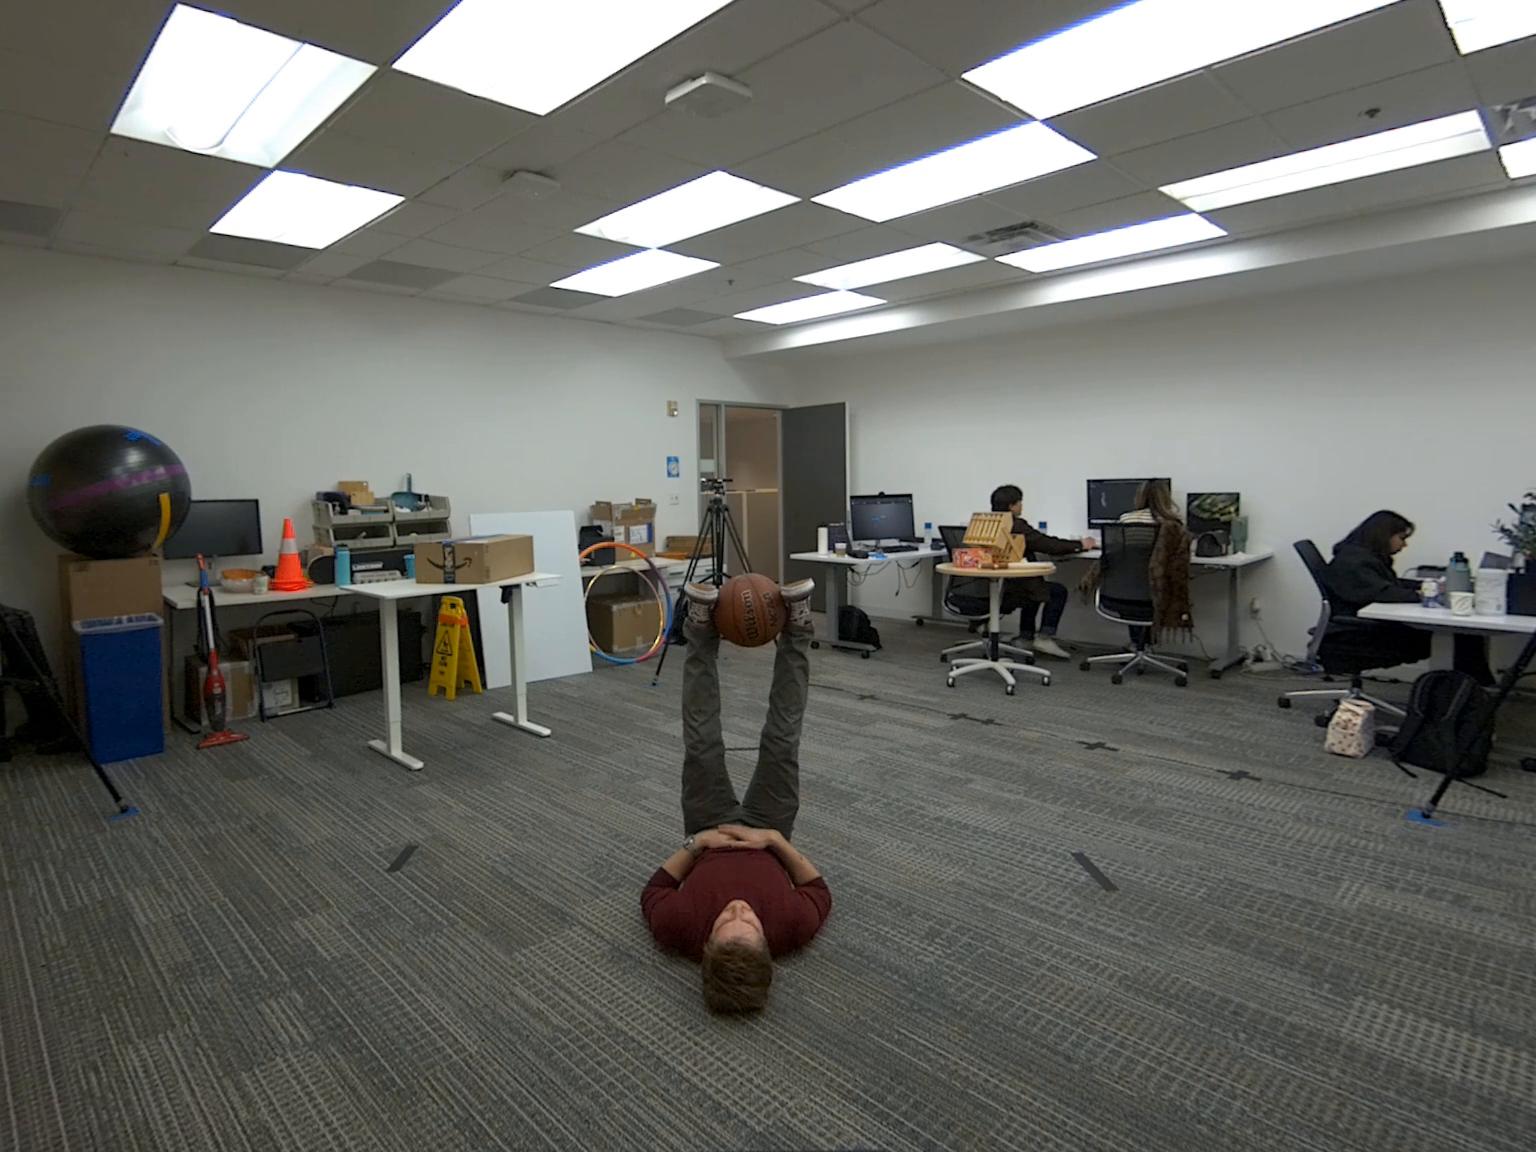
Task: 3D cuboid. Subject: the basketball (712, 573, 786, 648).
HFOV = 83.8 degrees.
[{"bbox_3d":[-0.056,0.112,2.766,0.236,0.236,0.236,0,1,-2],"label":"basketball"}]
